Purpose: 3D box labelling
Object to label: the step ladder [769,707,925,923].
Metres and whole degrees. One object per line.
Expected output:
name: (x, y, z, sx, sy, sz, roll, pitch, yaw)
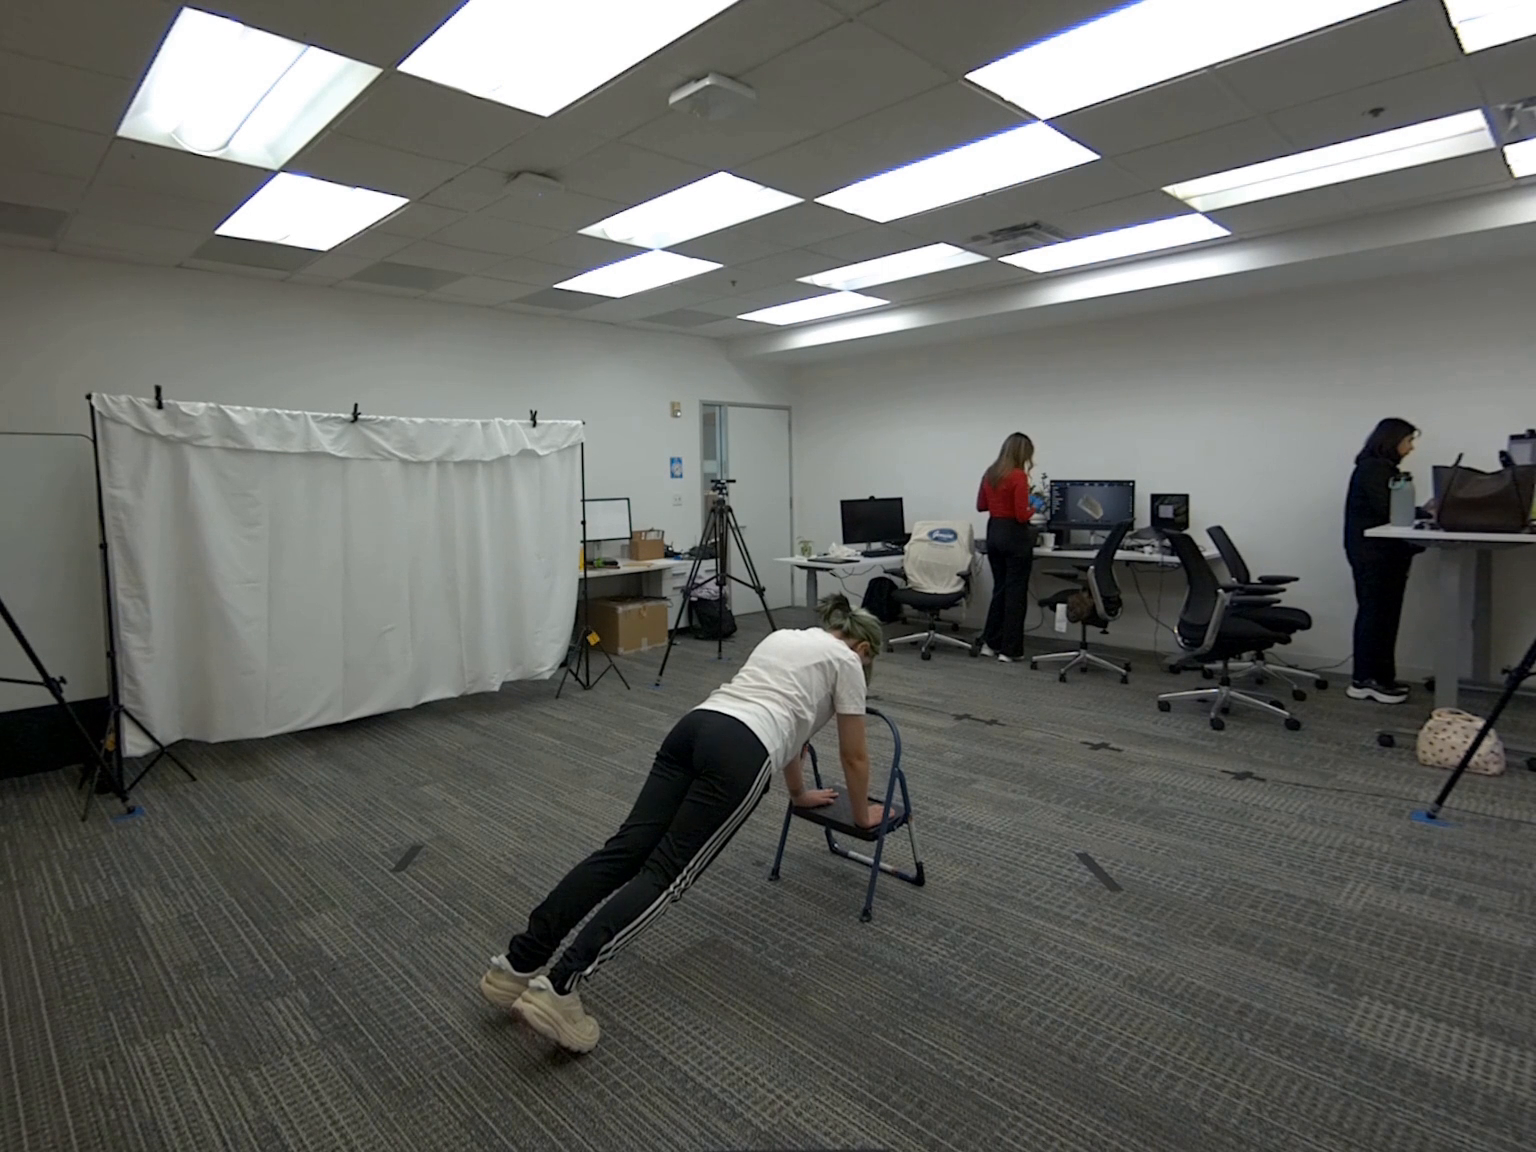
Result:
step ladder: (0.271, 0.758, 2.939, 0.444, 0.604, 0.340, 3, 6, 45)
